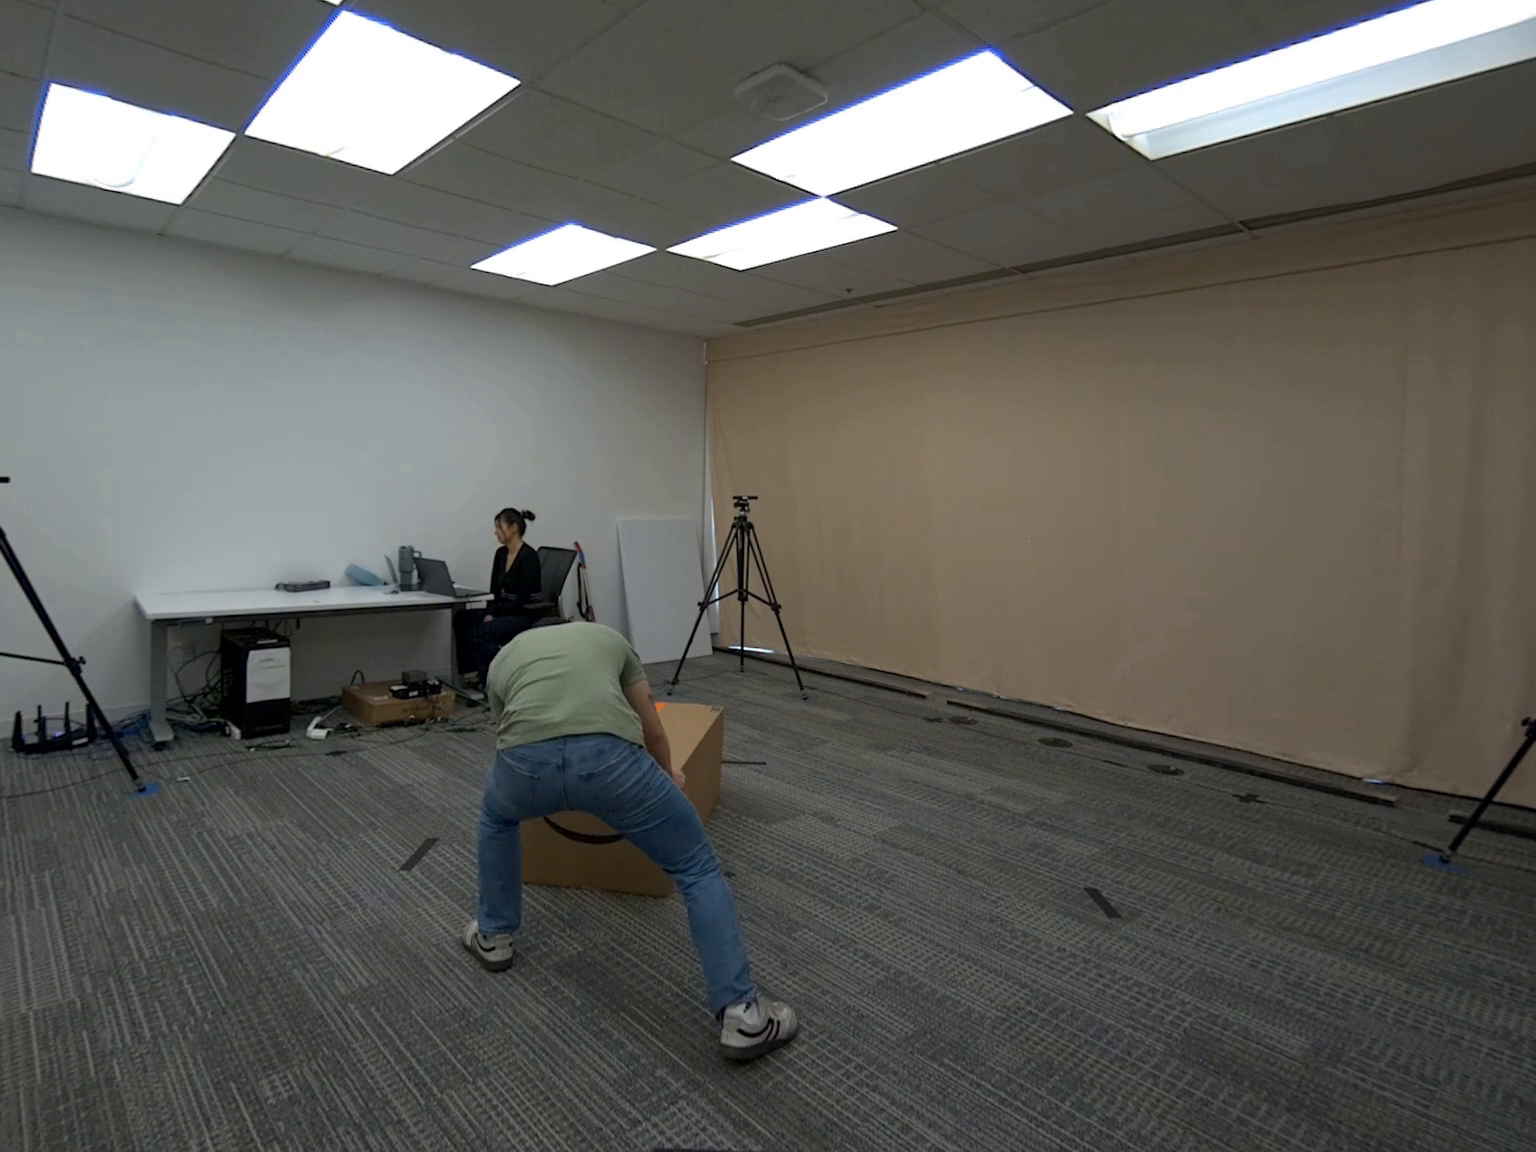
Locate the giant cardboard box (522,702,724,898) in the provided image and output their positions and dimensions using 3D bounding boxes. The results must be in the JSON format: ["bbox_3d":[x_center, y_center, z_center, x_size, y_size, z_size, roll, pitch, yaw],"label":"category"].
[{"bbox_3d":[-0.567,0.852,3.451,0.581,0.425,1.023,2,5,7],"label":"giant cardboard box"}]
